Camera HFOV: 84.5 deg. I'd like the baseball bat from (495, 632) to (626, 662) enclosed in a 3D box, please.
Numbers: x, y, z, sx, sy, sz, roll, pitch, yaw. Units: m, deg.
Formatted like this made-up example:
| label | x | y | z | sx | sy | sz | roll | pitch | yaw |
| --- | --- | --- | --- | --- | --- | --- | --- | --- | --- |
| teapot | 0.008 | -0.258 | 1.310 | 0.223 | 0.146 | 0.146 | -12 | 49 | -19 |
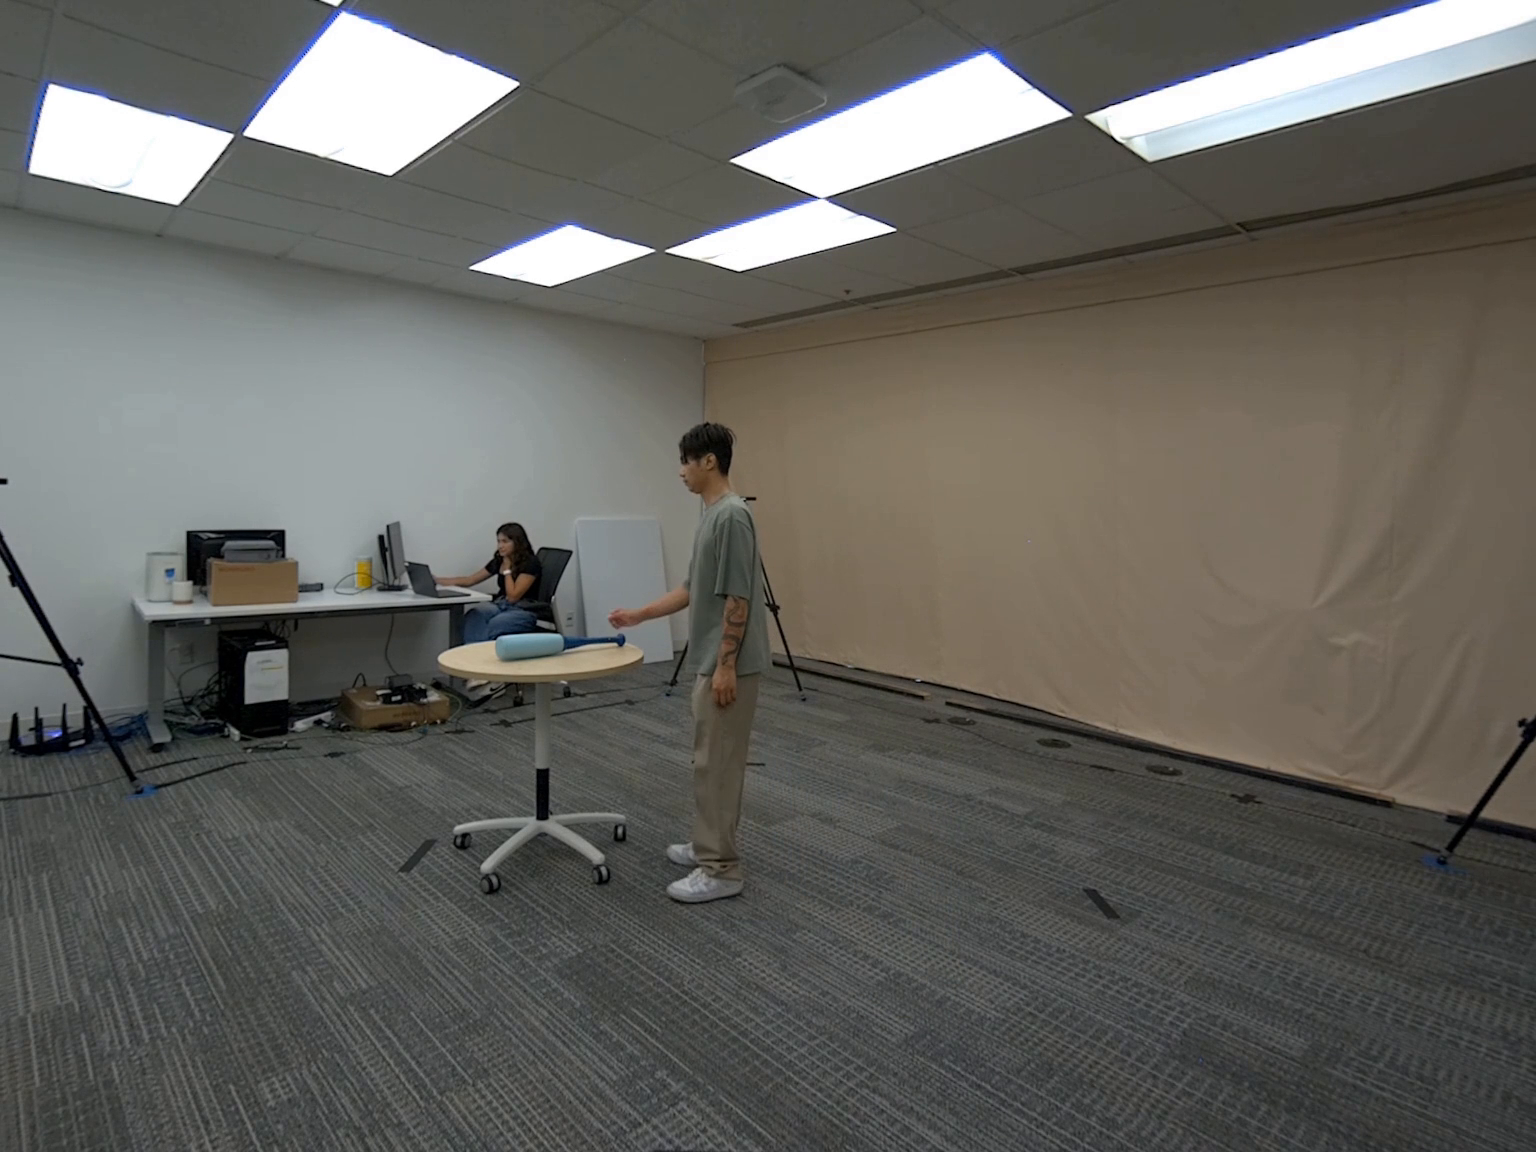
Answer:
| label | x | y | z | sx | sy | sz | roll | pitch | yaw |
| --- | --- | --- | --- | --- | --- | --- | --- | --- | --- |
| baseball bat | -0.783 | 0.258 | 3.227 | 0.530 | 0.089 | 0.091 | -1 | 5 | -42 |
